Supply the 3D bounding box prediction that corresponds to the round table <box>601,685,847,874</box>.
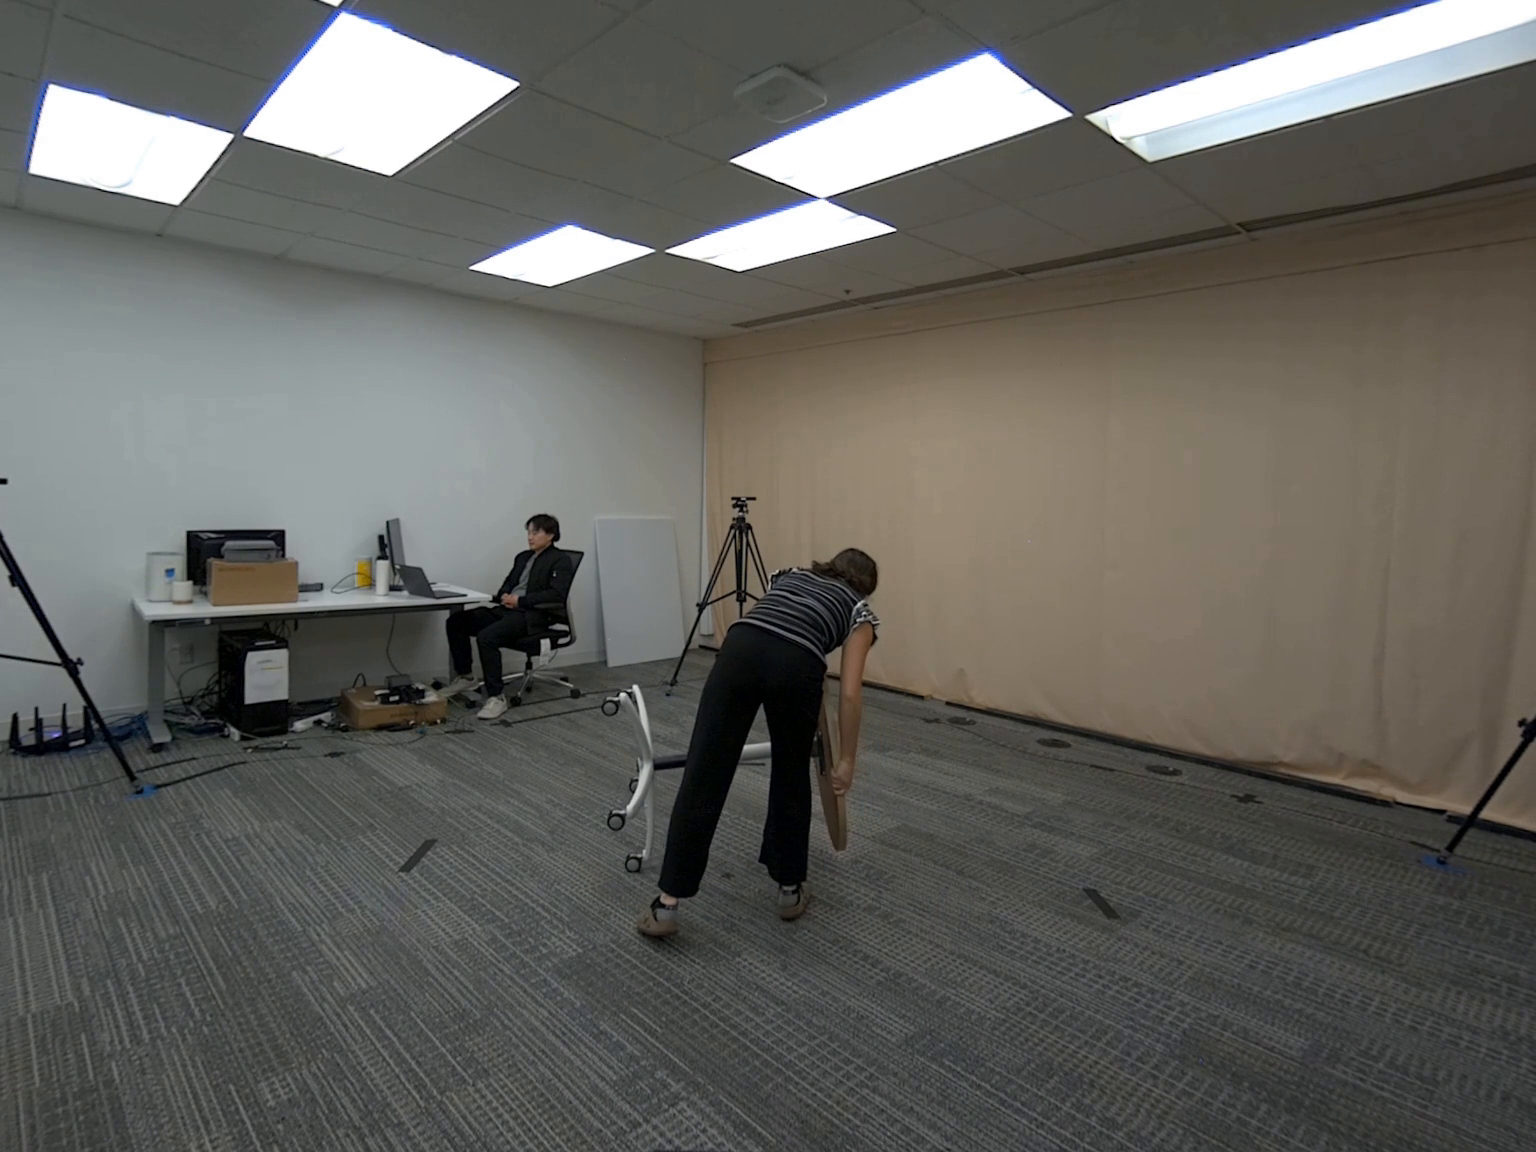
[{"bbox_3d":[-0.179,0.686,3.174,0.793,0.761,0.767,-7,4,-2],"label":"round table"}]
